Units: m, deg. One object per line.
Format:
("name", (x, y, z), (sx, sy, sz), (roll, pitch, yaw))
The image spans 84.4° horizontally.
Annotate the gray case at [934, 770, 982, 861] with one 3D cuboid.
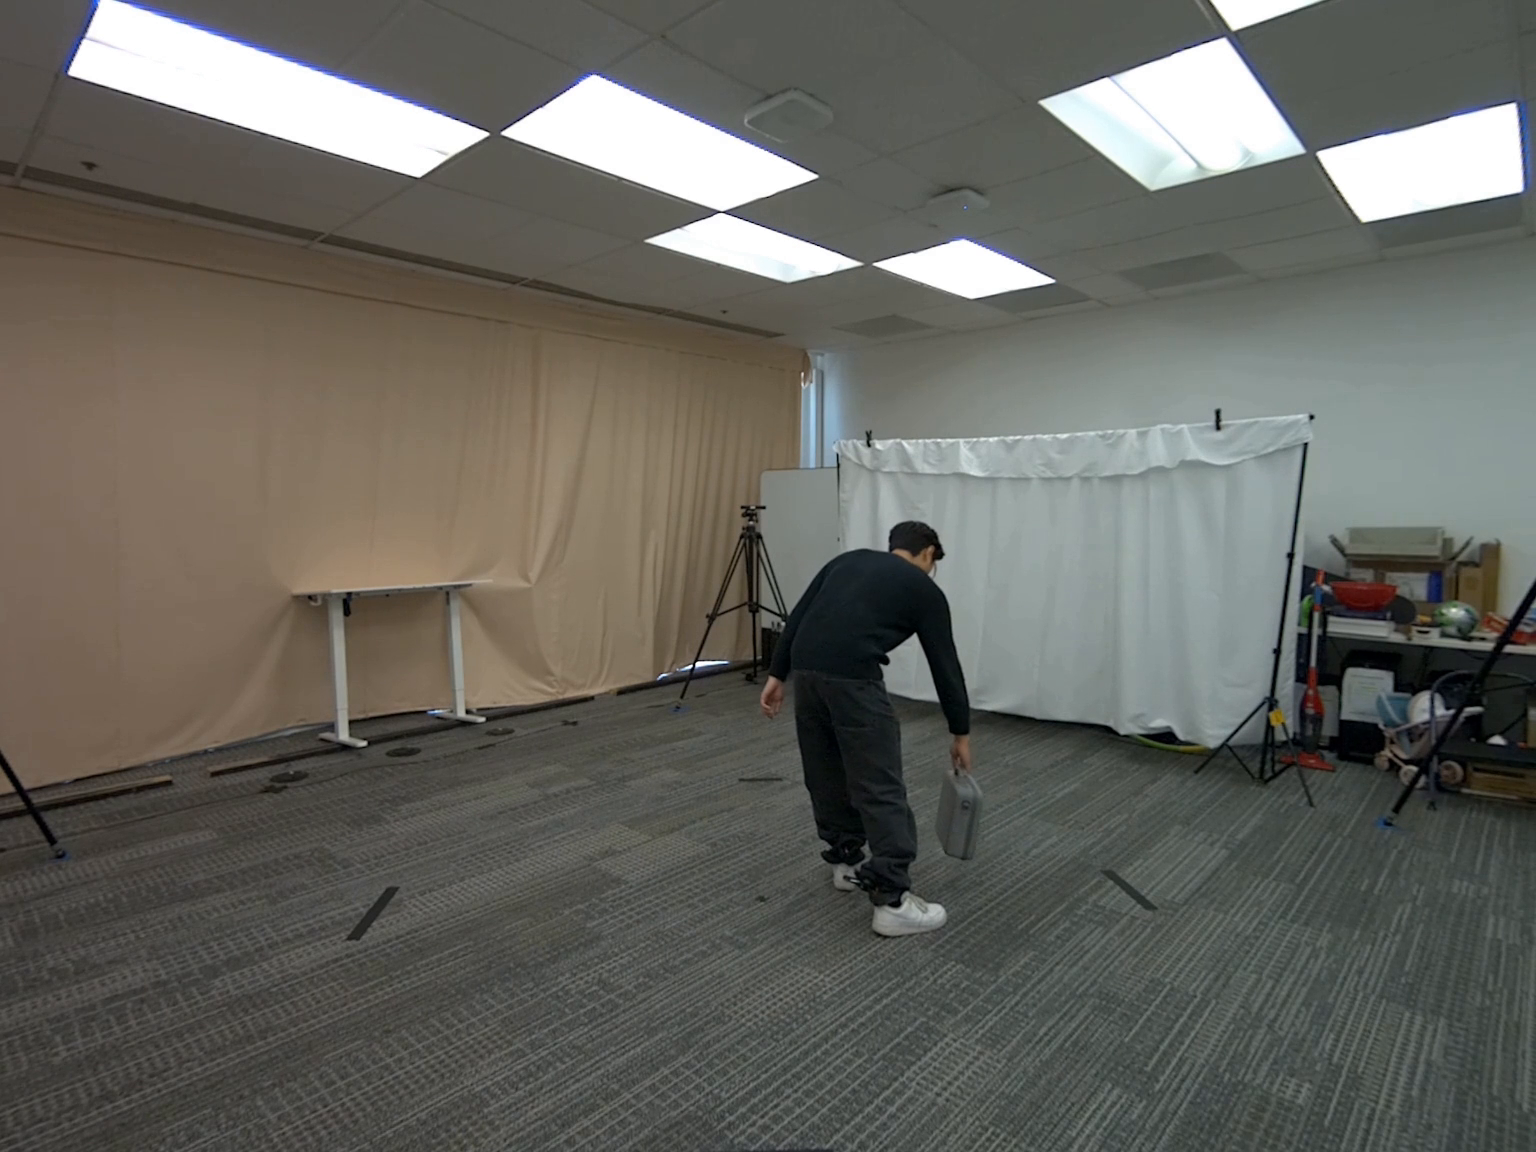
("gray case", (0.702, 0.860, 3.058), (0.105, 0.260, 0.256), (9, 3, 1))
